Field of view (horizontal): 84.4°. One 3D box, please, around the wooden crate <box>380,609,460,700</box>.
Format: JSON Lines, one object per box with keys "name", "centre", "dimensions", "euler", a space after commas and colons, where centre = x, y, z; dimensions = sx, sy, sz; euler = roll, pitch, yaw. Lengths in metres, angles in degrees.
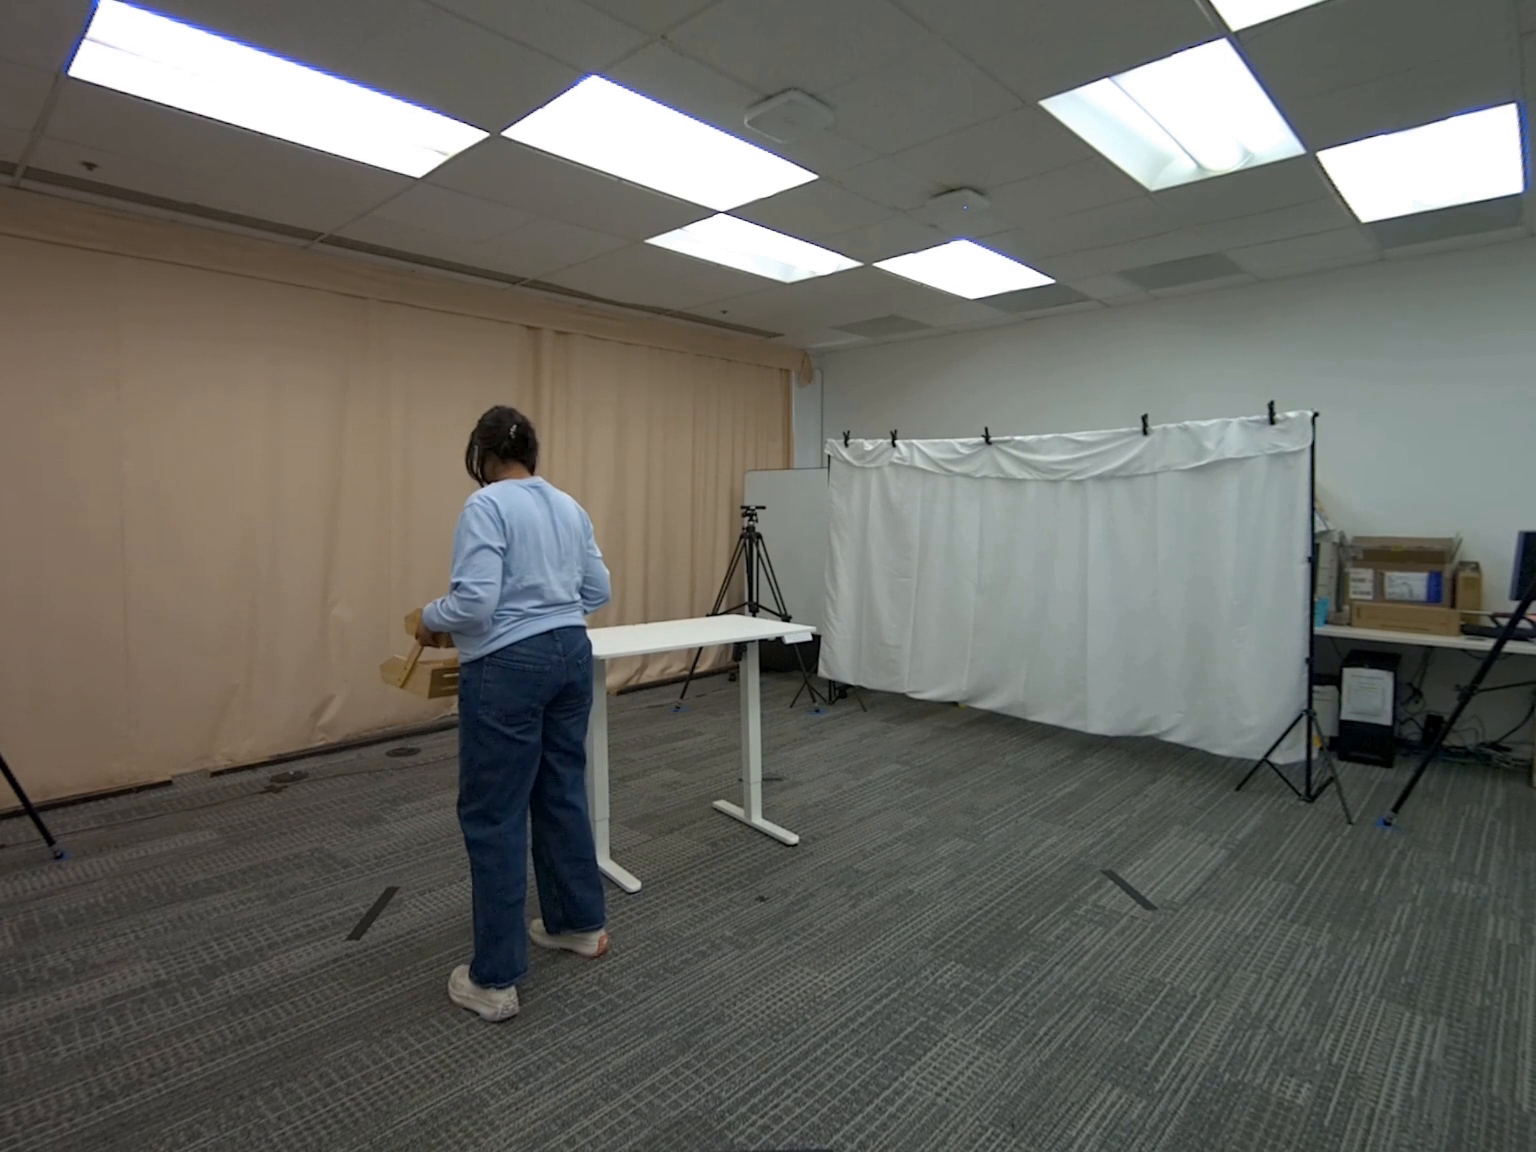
{"name": "wooden crate", "centre": [-1.008, 0.221, 2.676], "dimensions": [0.312, 0.273, 0.315], "euler": [11, 5, 32]}
